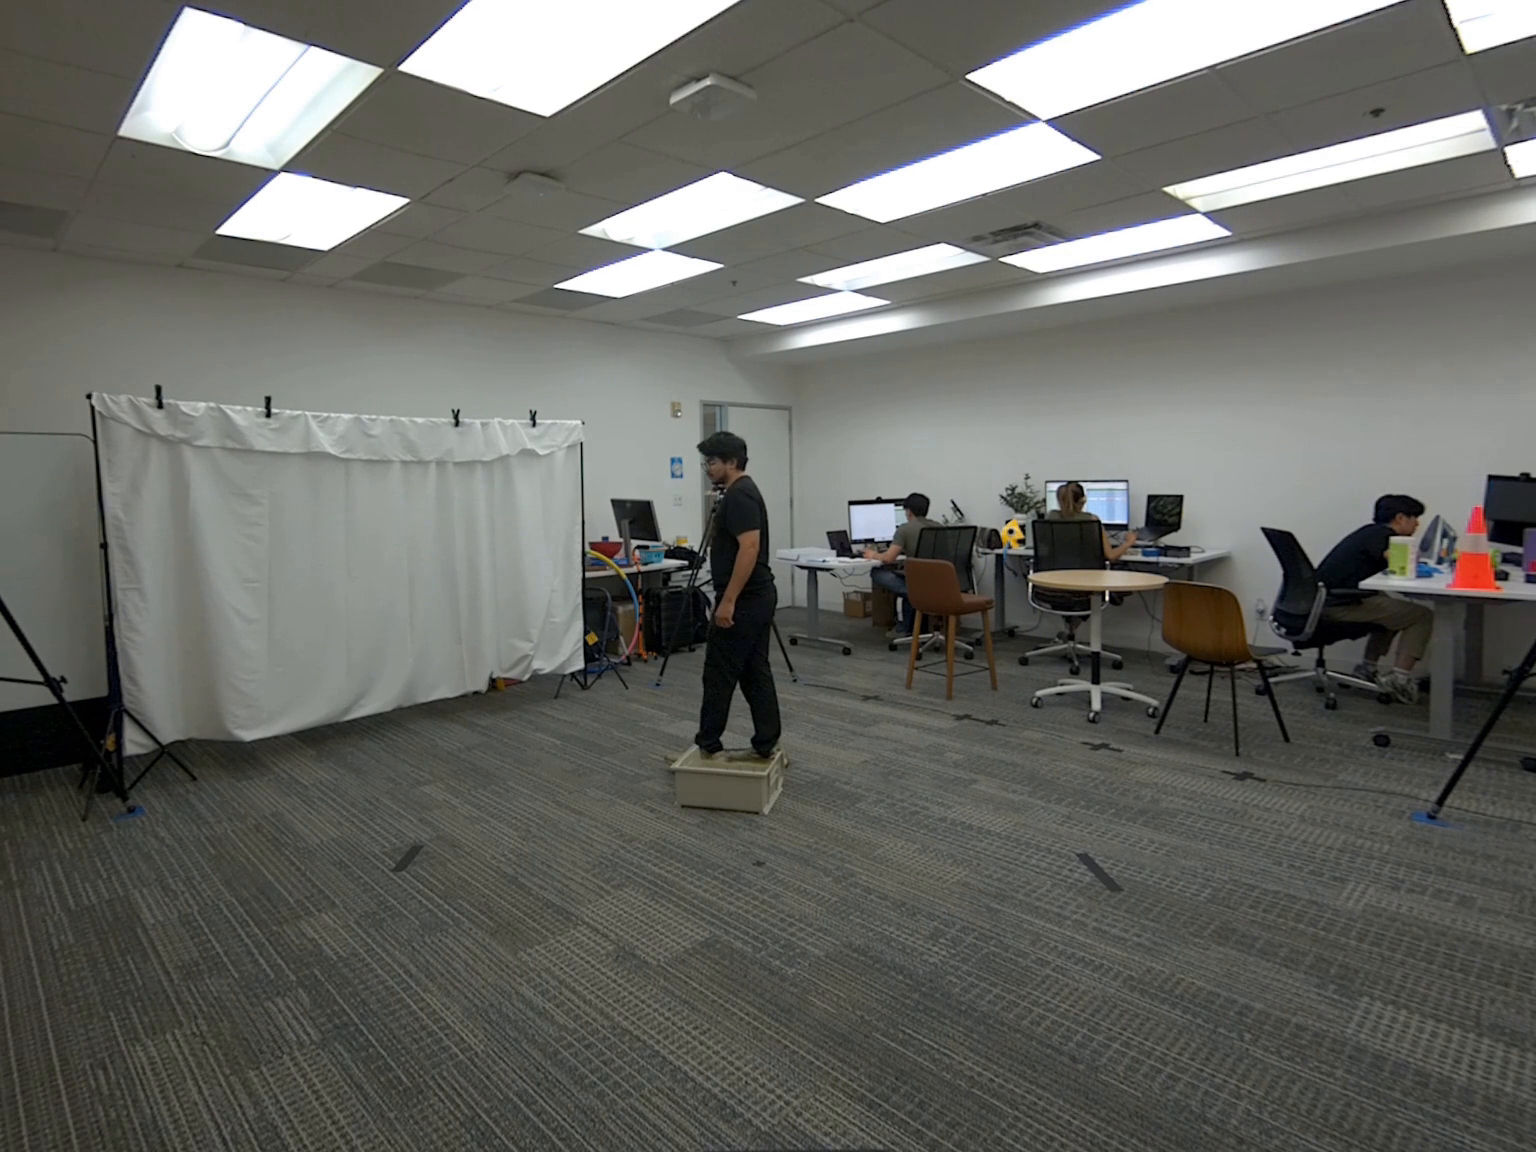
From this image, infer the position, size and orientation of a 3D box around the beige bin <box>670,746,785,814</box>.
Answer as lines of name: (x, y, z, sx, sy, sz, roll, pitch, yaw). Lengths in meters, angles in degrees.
beige bin: (-0.169, 0.890, 3.783, 0.429, 0.188, 0.374, 1, 7, 15)
